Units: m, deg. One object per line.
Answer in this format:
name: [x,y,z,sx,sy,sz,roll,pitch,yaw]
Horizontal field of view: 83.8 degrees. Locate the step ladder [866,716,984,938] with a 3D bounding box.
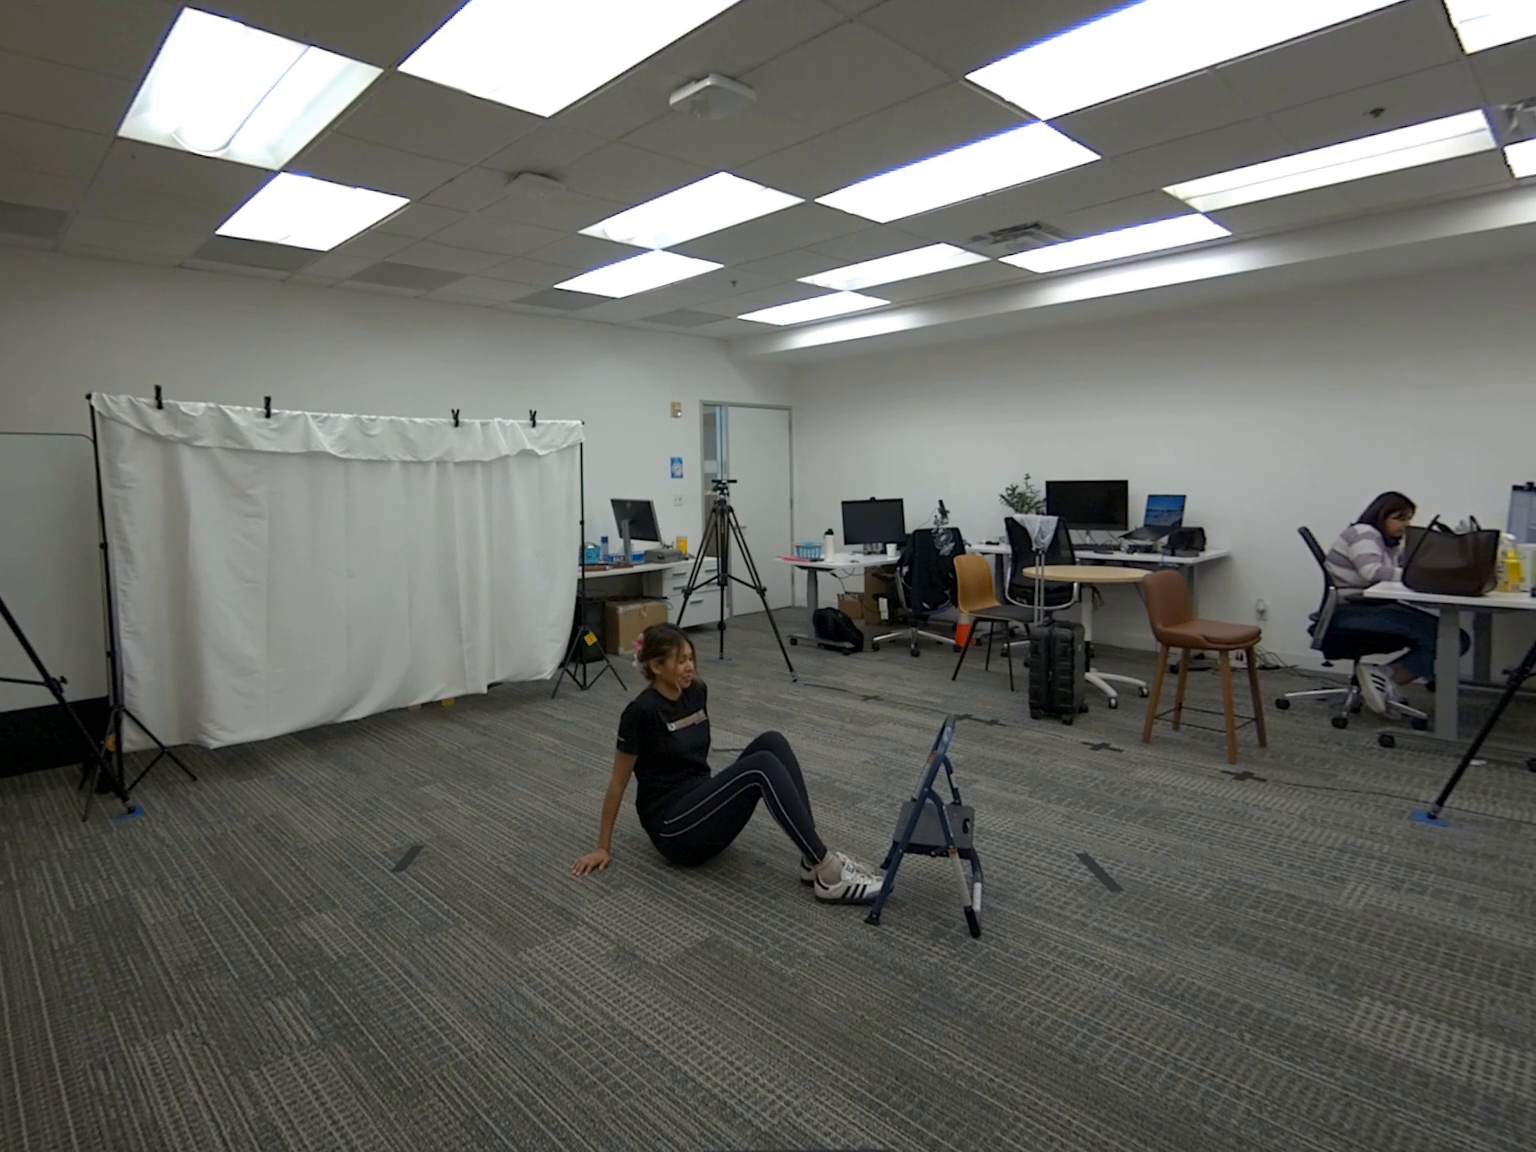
step ladder: [0.527,0.768,2.801,0.355,0.604,0.425,0,4,16]
